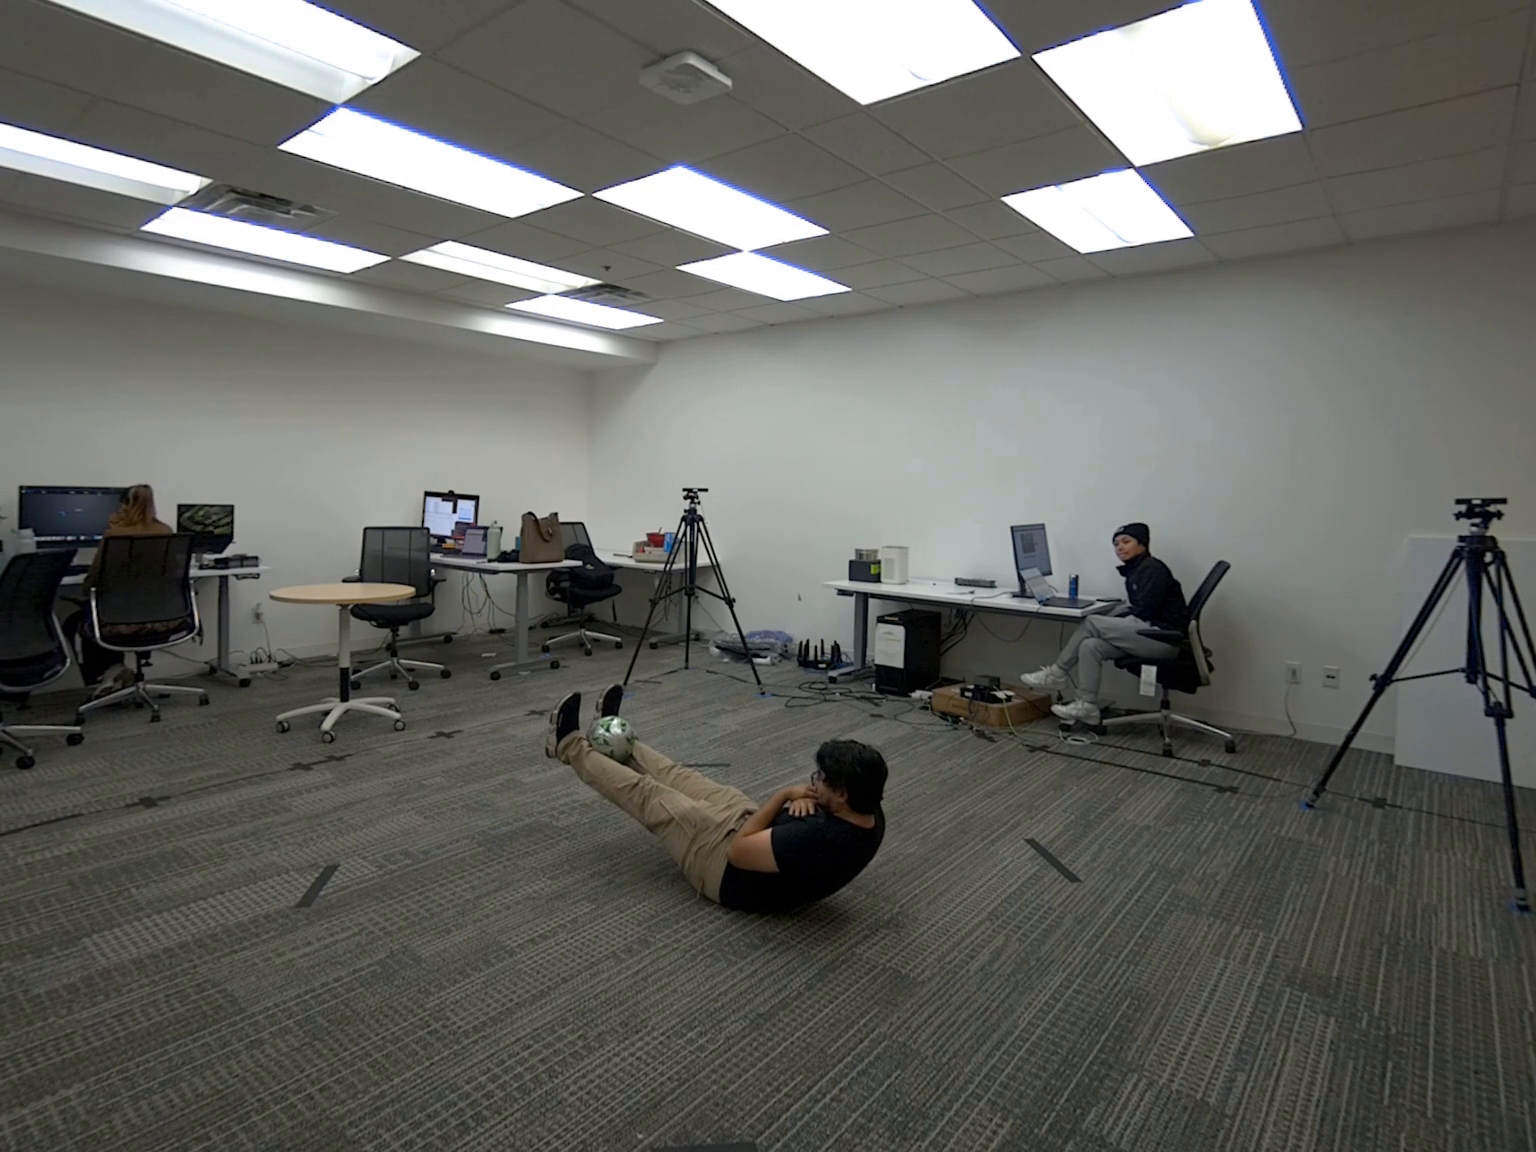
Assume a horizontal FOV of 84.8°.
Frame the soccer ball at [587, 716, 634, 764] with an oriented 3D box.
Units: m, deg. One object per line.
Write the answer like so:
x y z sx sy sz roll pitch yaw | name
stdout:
-0.632 0.650 3.338 0.187 0.187 0.188 0 4 -2 | soccer ball
